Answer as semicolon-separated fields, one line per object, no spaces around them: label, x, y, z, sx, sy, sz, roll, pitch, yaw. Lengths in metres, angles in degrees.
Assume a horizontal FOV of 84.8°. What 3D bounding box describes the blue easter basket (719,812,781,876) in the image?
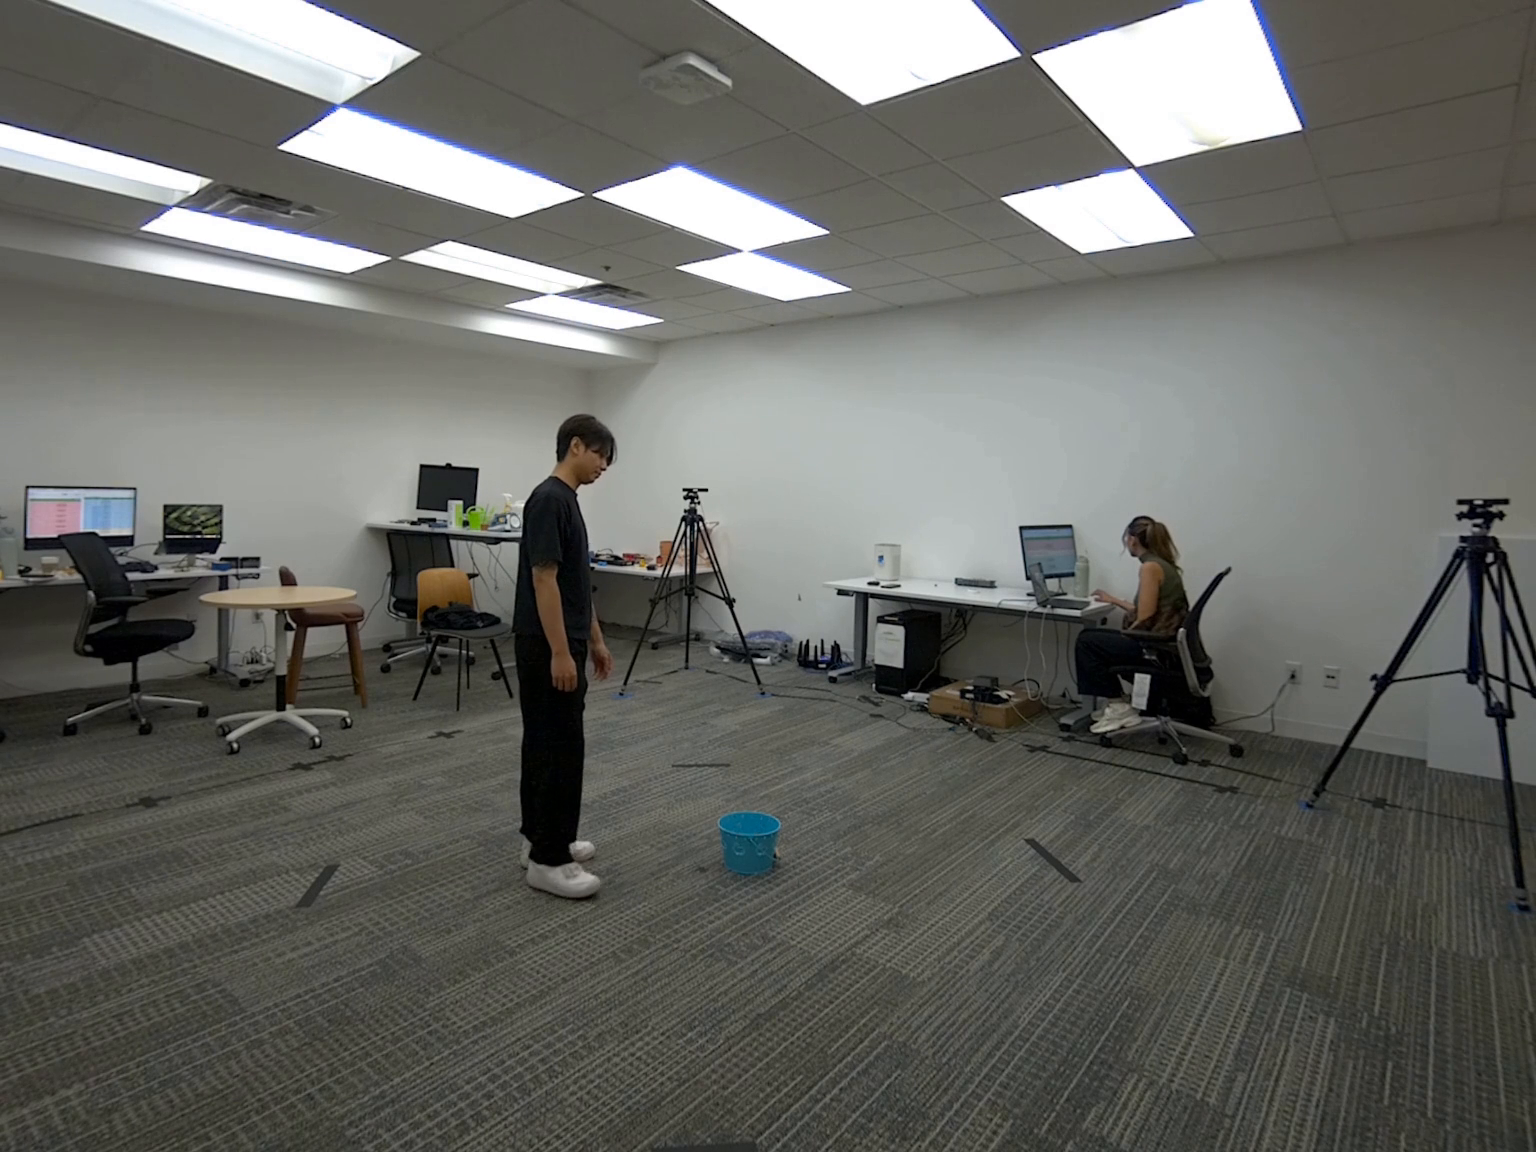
blue easter basket;-0.073;0.992;3.156;0.243;0.155;0.245;1;5;-2
